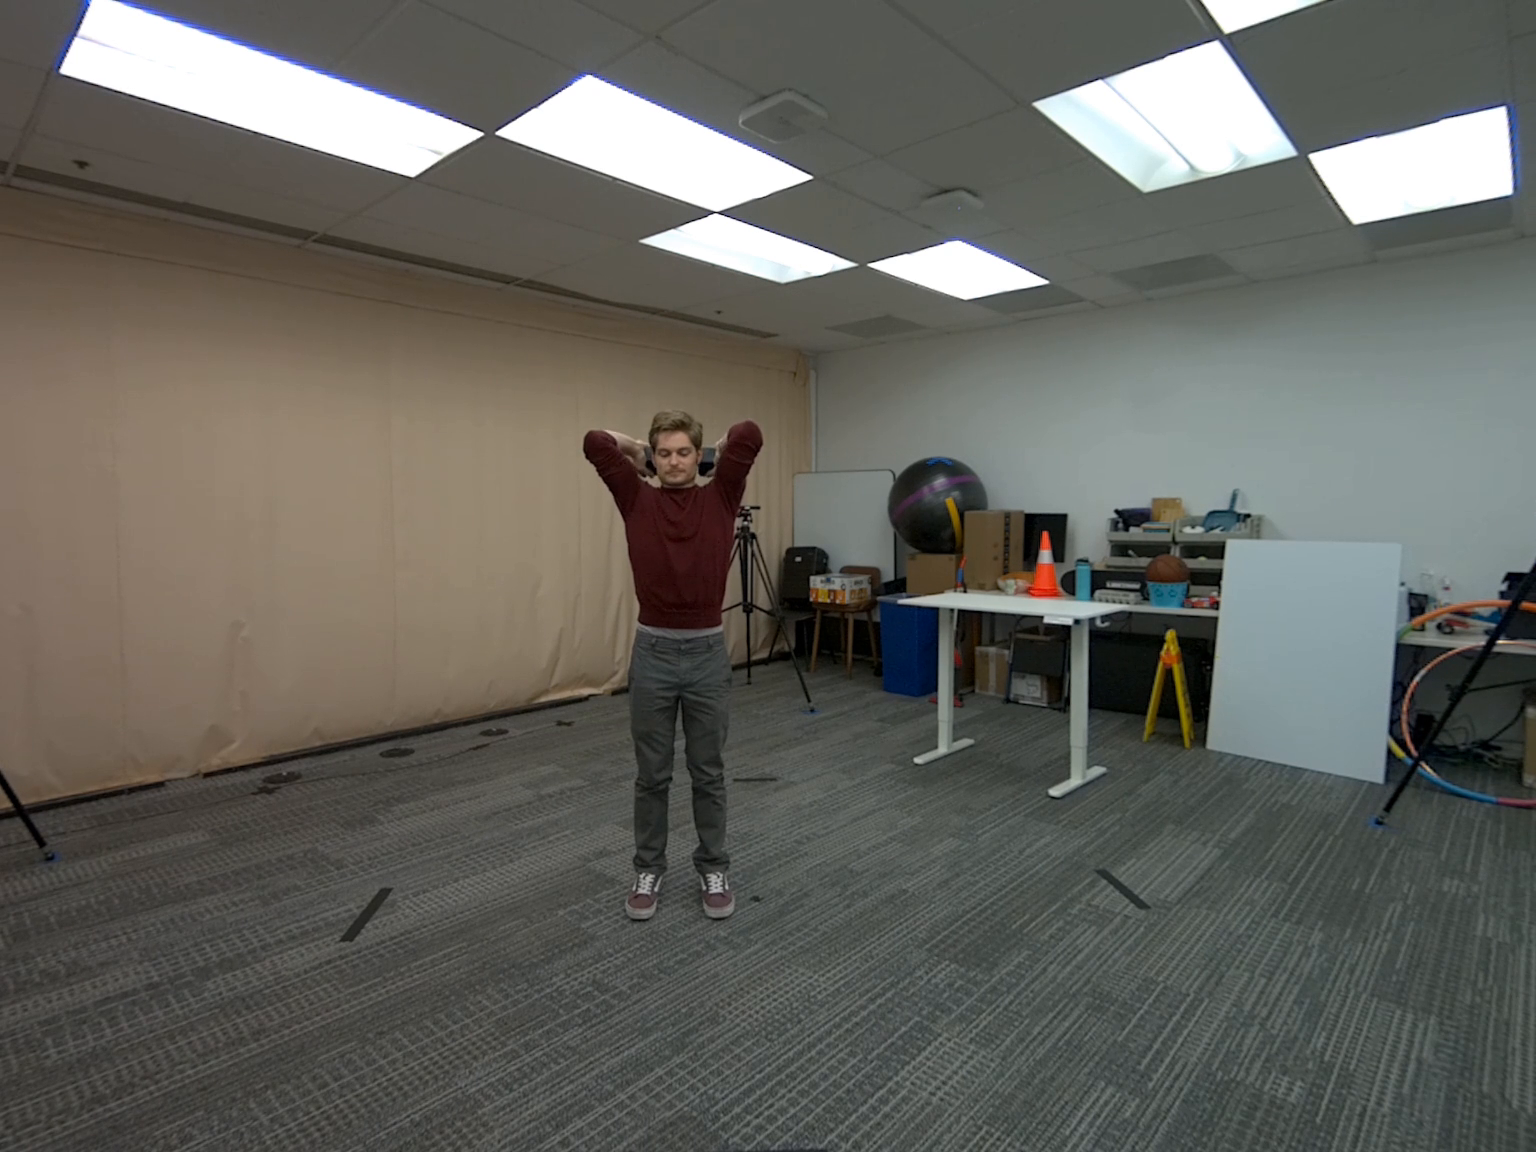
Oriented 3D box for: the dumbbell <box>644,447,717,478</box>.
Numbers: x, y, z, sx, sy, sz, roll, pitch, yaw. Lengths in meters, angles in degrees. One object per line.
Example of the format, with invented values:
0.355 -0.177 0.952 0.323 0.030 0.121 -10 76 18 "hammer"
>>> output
-0.325 -0.448 3.097 0.298 0.120 0.109 0 34 13 "dumbbell"
